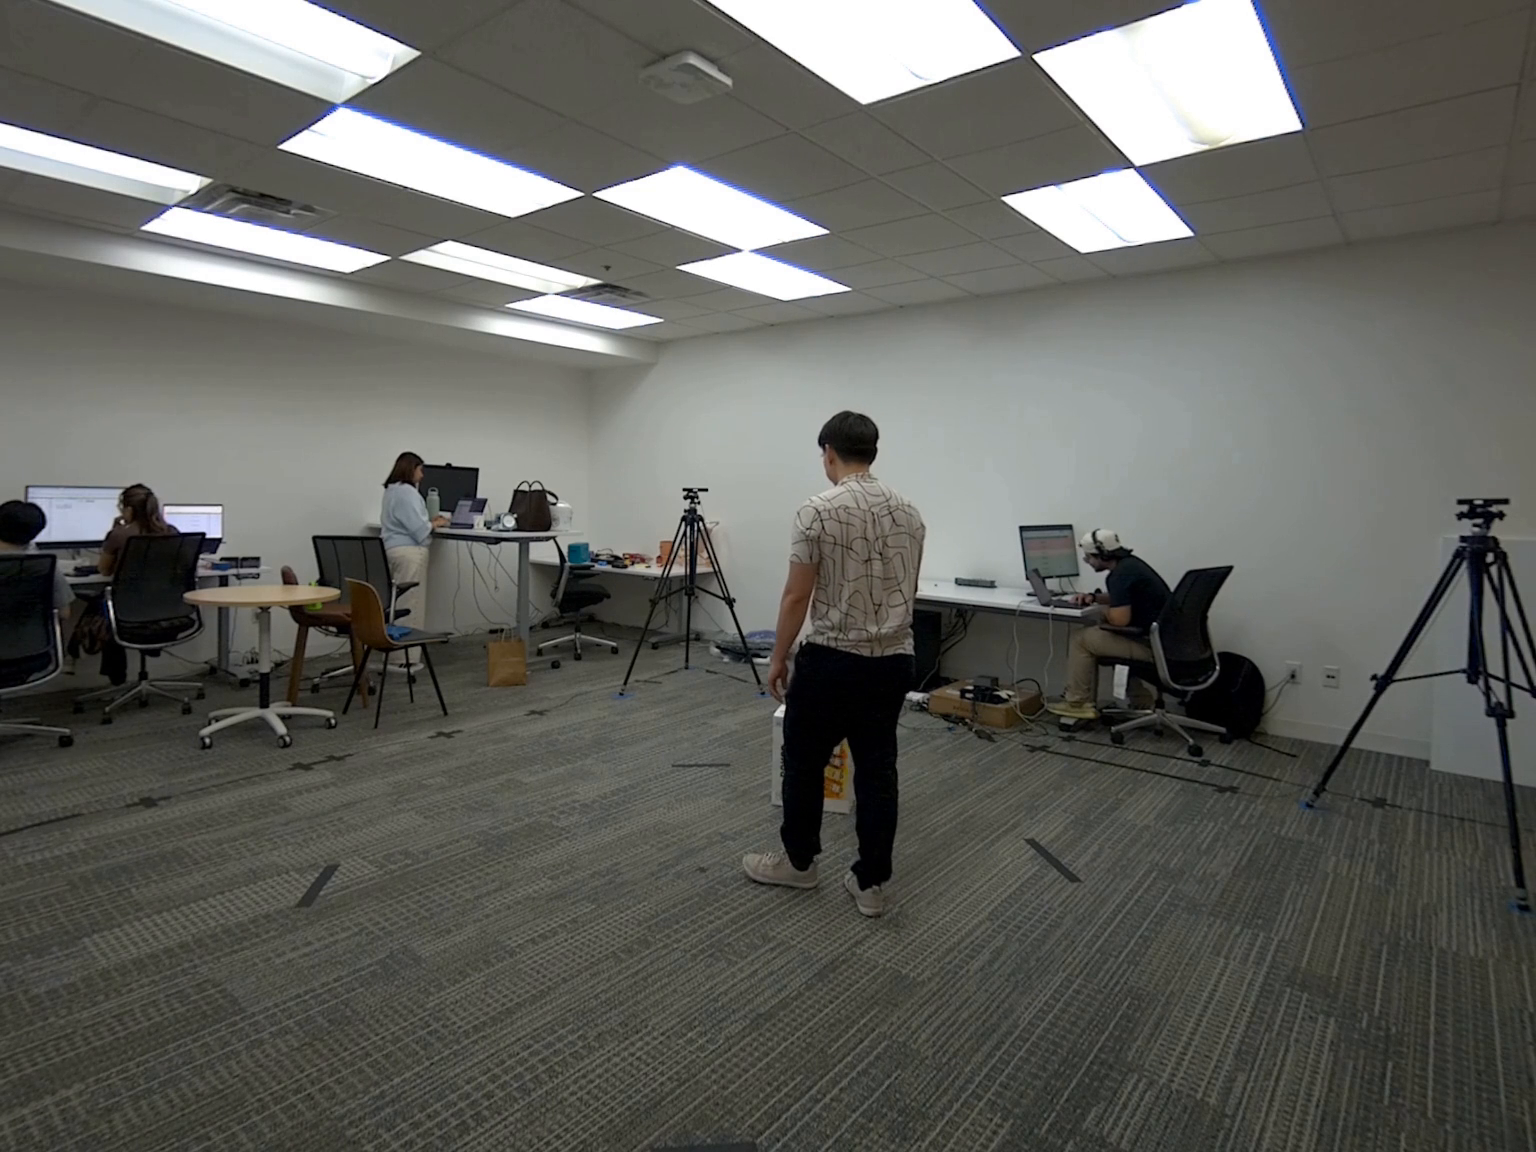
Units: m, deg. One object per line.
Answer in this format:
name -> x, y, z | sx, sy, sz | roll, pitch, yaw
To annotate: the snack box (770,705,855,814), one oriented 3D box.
snack box -> 0.197, 0.805, 3.799 | 0.345, 0.404, 0.203 | 2, 4, 13
